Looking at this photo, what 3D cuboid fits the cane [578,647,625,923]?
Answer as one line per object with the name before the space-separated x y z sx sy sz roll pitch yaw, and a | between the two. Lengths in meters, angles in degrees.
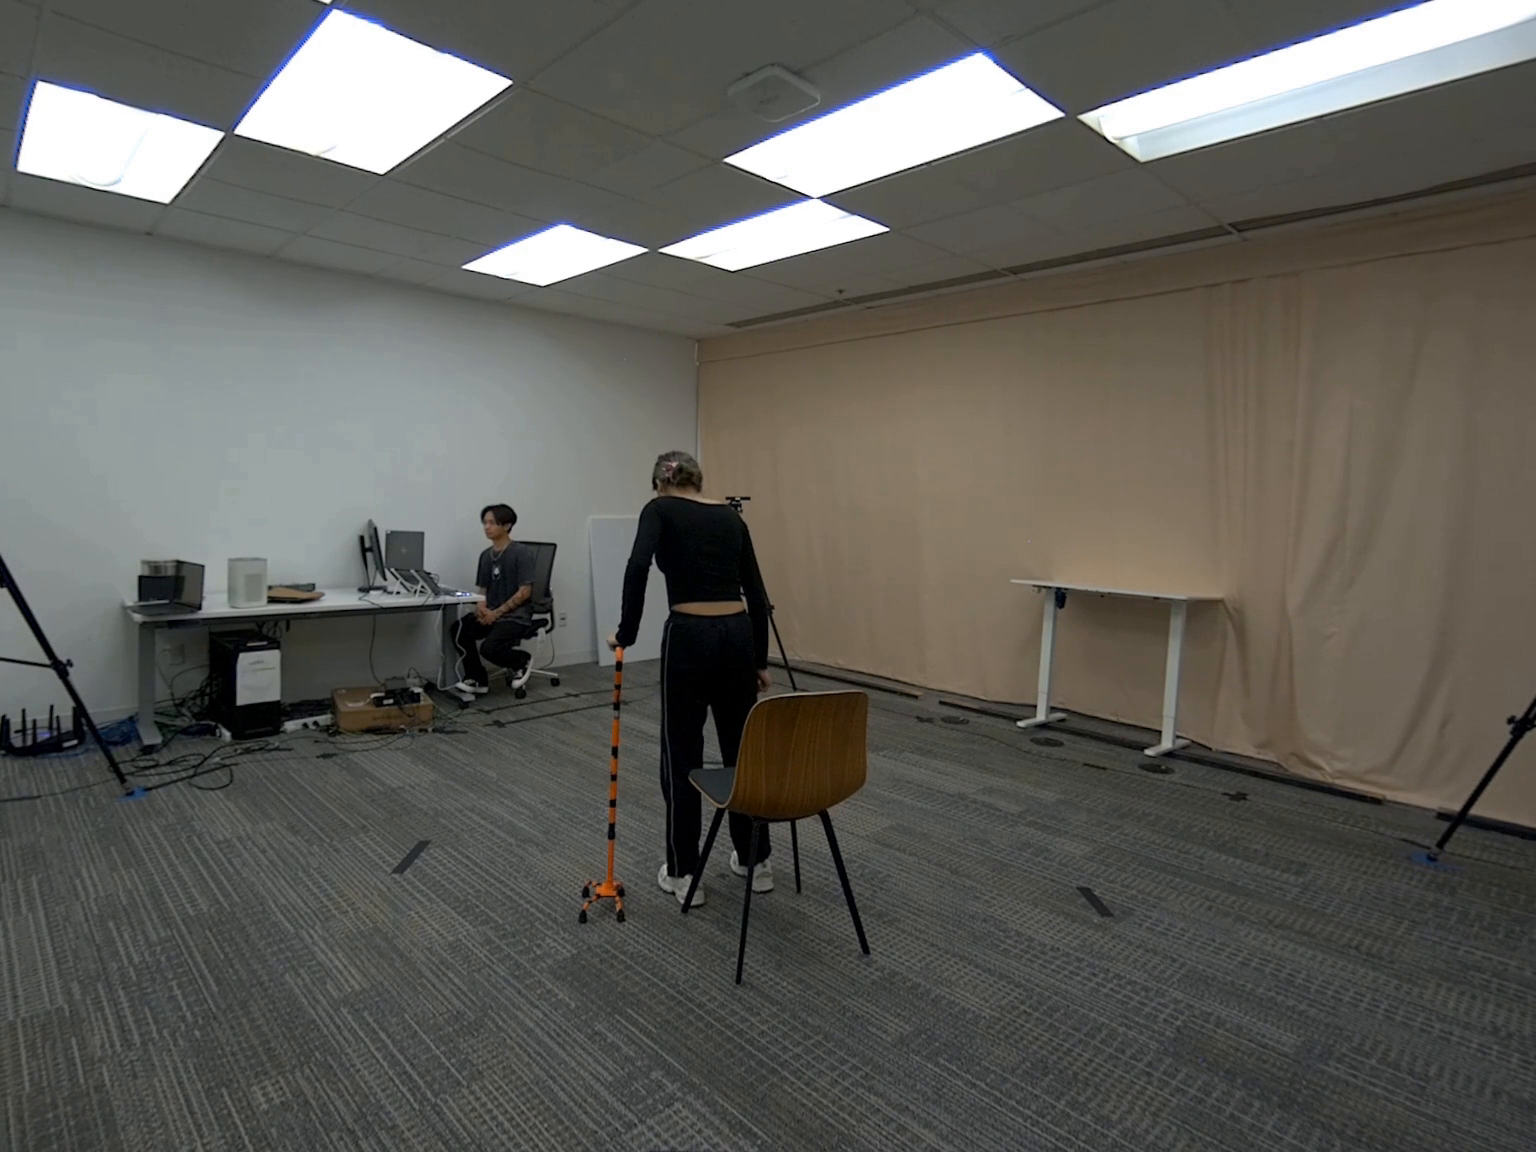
cane | -0.542 0.668 2.831 0.150 0.907 0.208 2 2 -10
